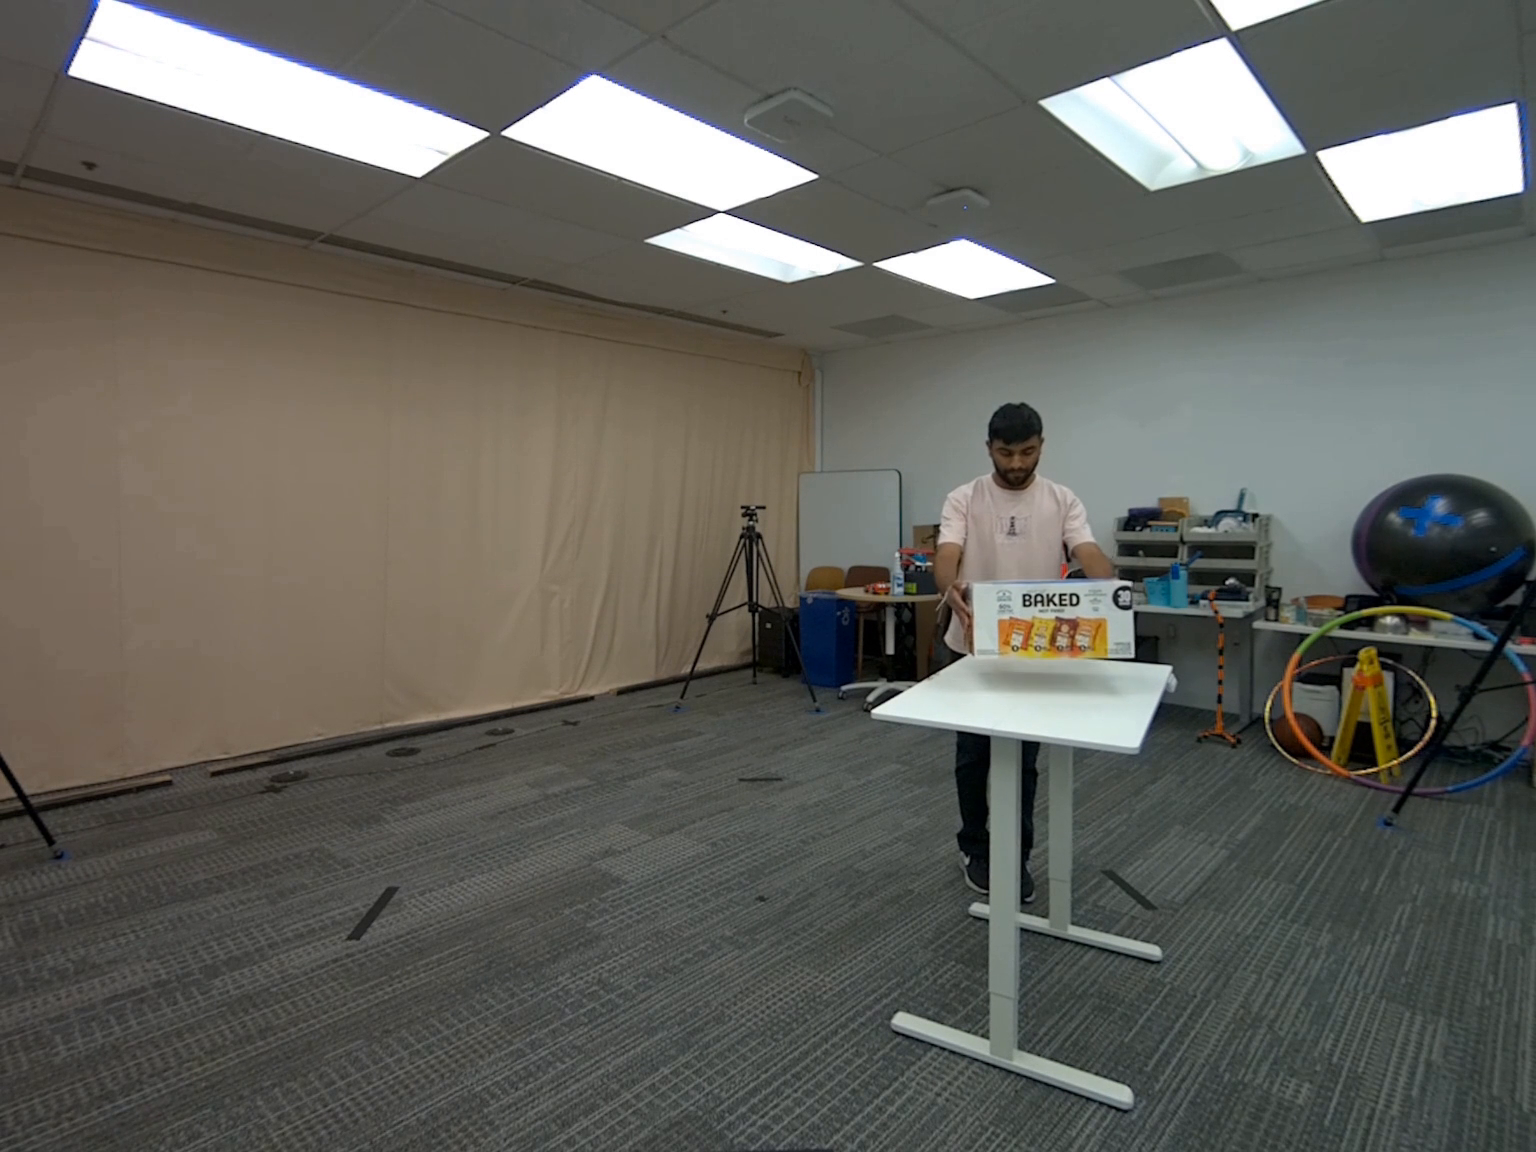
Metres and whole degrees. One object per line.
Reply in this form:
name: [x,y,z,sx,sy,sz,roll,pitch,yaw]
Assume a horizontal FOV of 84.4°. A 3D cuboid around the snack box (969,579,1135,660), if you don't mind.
snack box: [0.779,0.118,2.408,0.410,0.206,0.336,-1,0,9]
